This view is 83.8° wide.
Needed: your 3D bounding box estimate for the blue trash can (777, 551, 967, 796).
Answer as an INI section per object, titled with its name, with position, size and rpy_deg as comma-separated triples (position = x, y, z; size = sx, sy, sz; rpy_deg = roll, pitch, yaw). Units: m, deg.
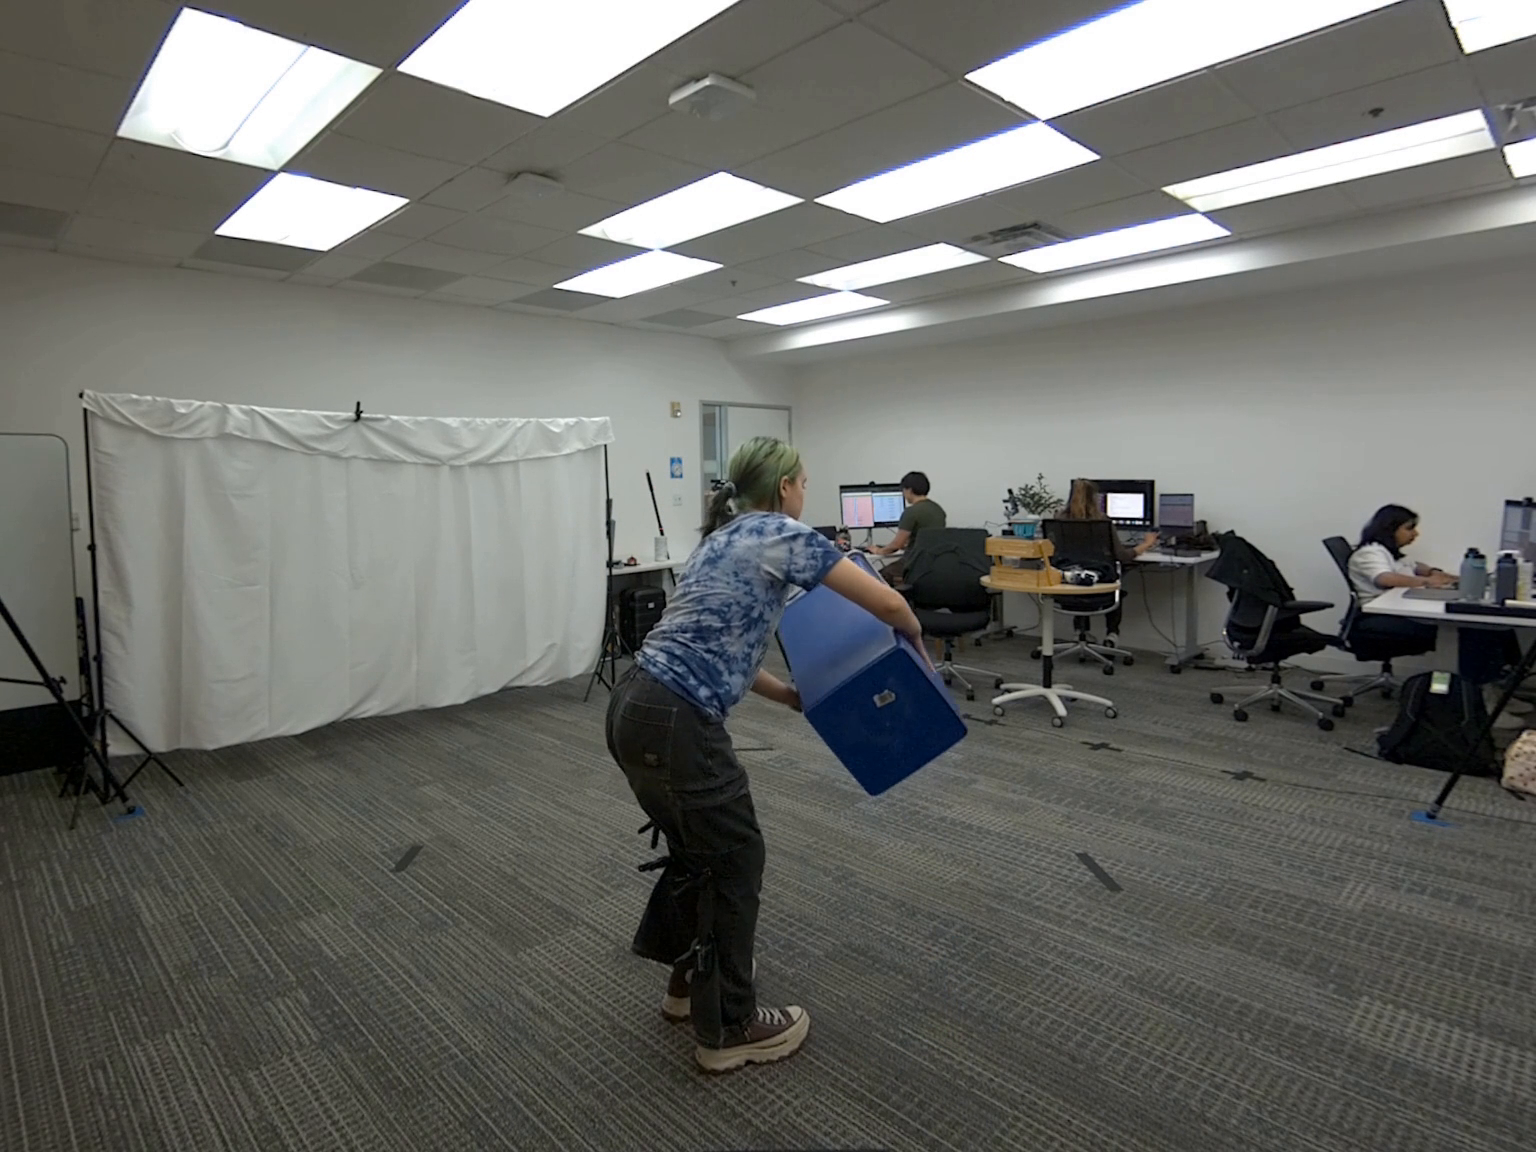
[blue trash can]
position = 0.275, 0.245, 2.444
size = 0.379, 0.368, 0.724
rpy_deg = -37, 14, 8
